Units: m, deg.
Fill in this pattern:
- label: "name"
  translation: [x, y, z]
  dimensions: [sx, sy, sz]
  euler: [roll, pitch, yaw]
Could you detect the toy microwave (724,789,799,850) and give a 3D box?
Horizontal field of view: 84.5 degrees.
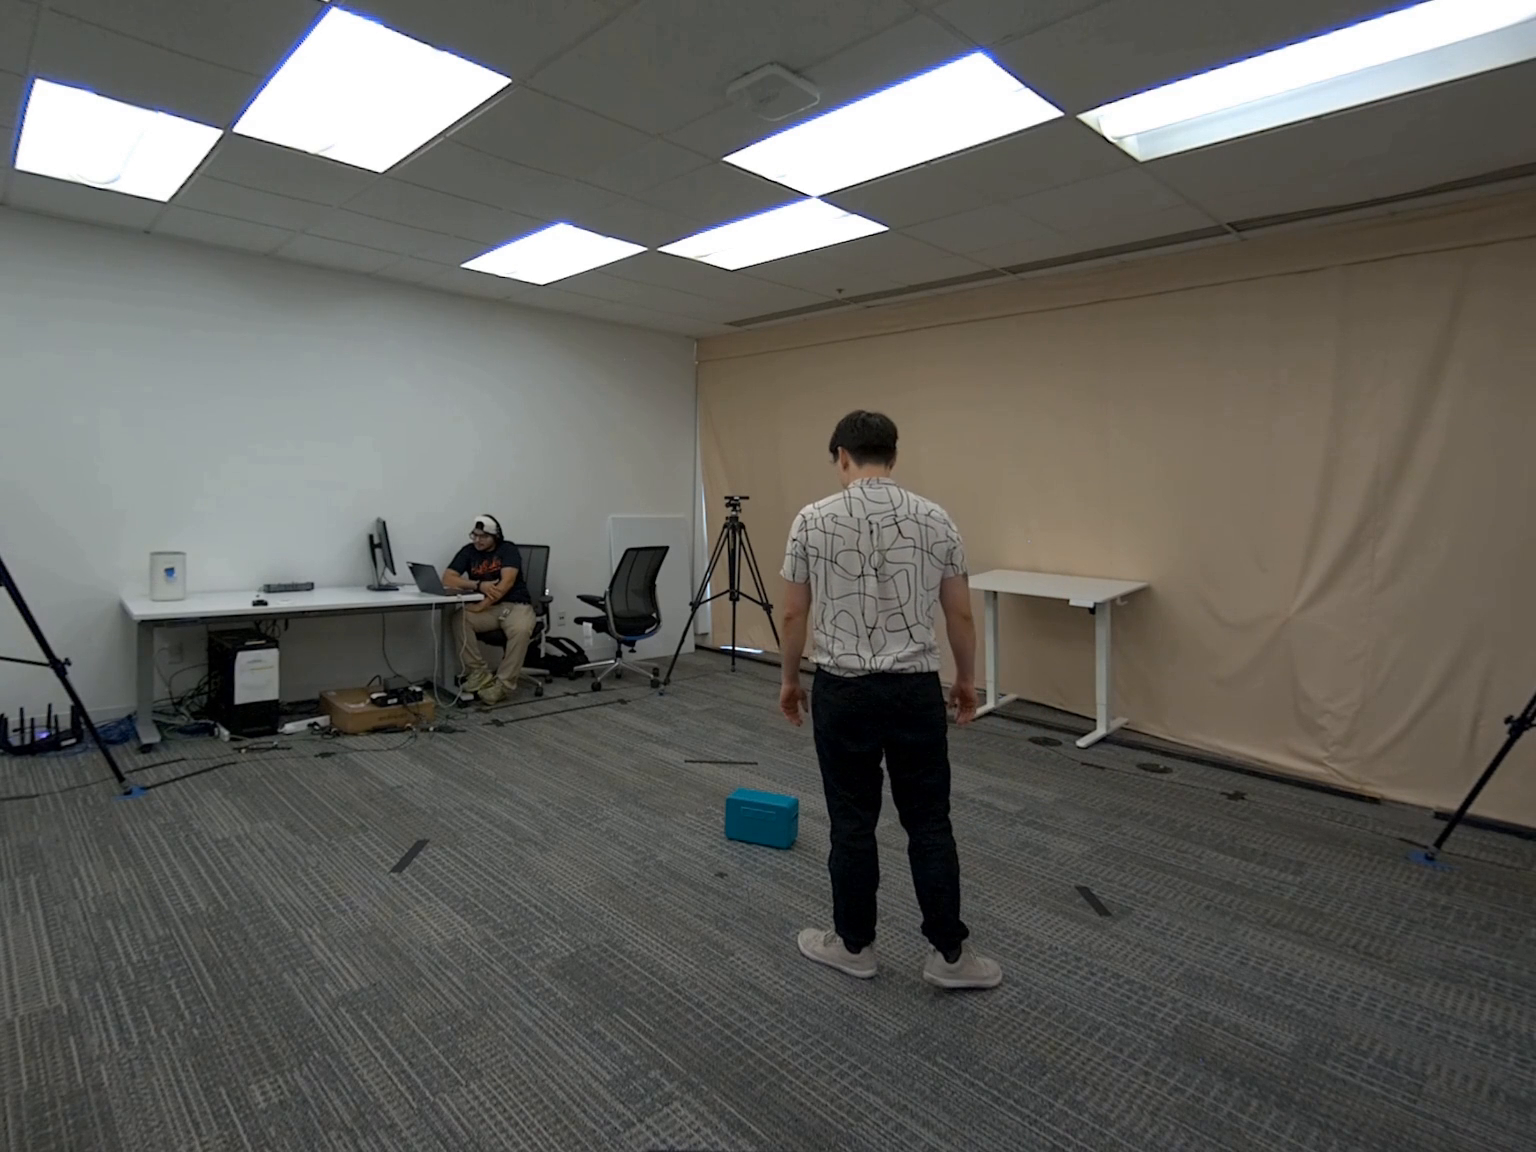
- label: "toy microwave"
  translation: [-0.030, 0.986, 3.439]
  dimensions: [0.291, 0.184, 0.150]
  euler: [3, 4, 22]
